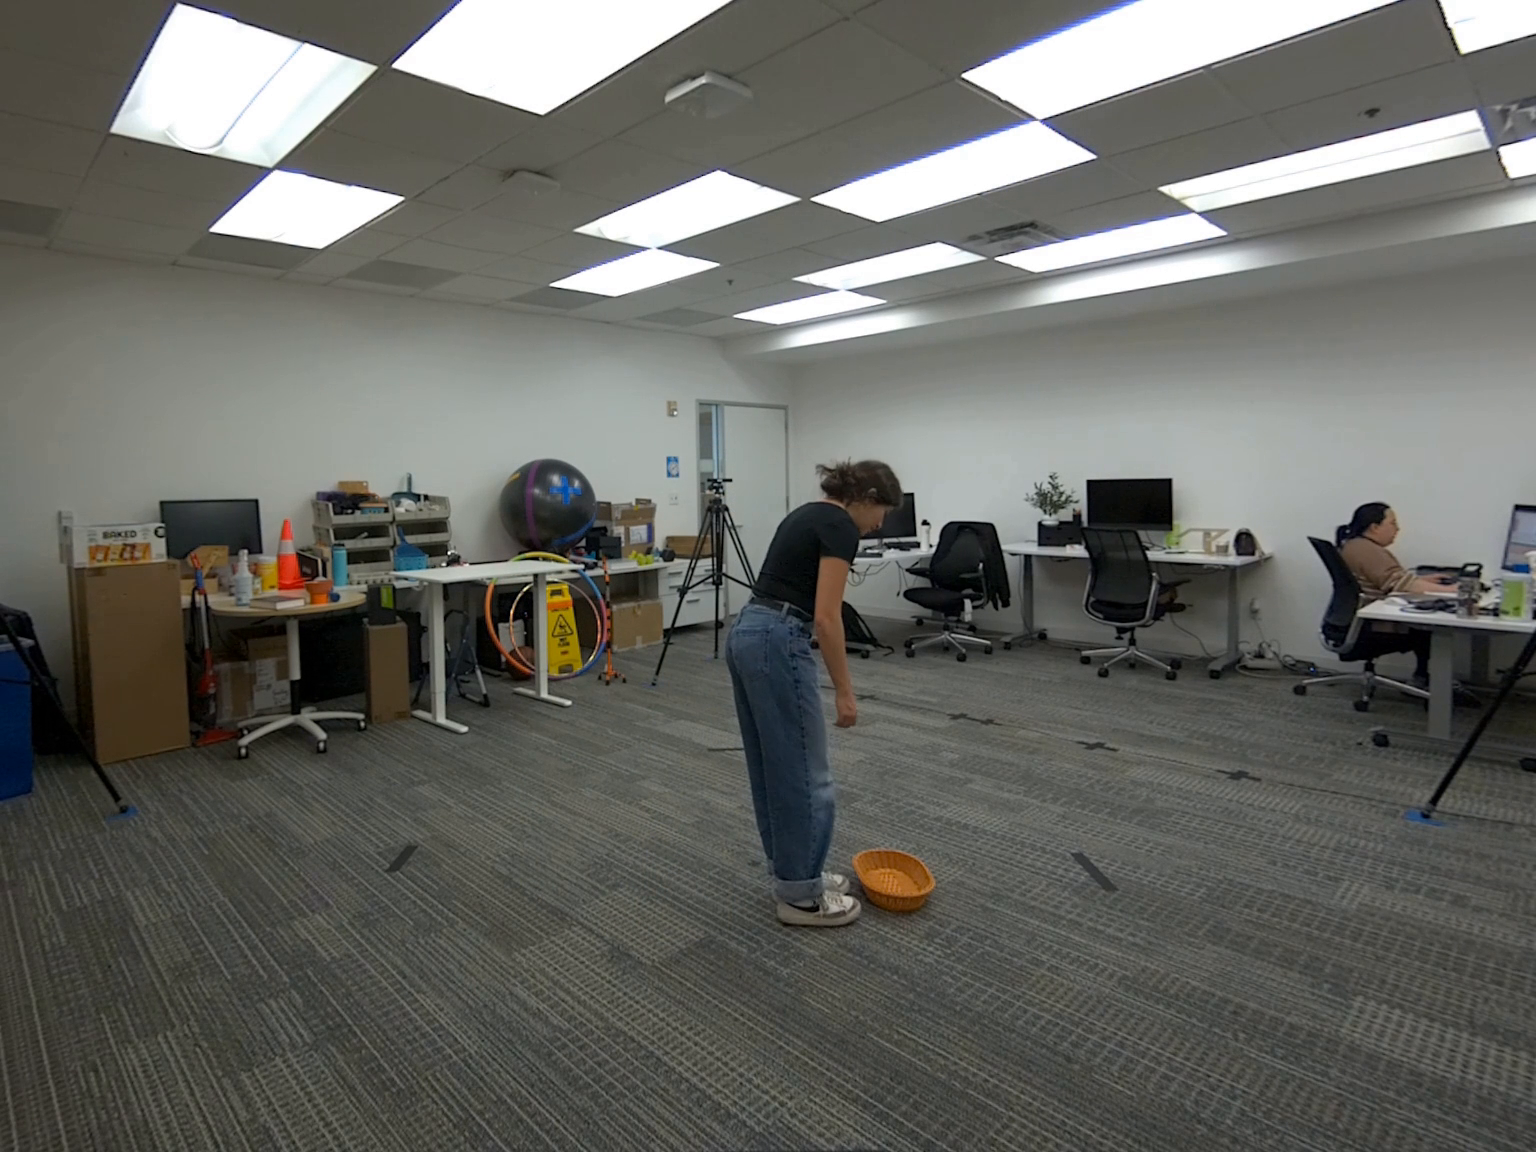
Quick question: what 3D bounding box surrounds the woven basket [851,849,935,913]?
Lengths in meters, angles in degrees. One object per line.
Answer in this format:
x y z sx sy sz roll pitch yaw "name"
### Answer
0.424 1.026 2.880 0.251 0.073 0.354 -1 6 -7 "woven basket"
